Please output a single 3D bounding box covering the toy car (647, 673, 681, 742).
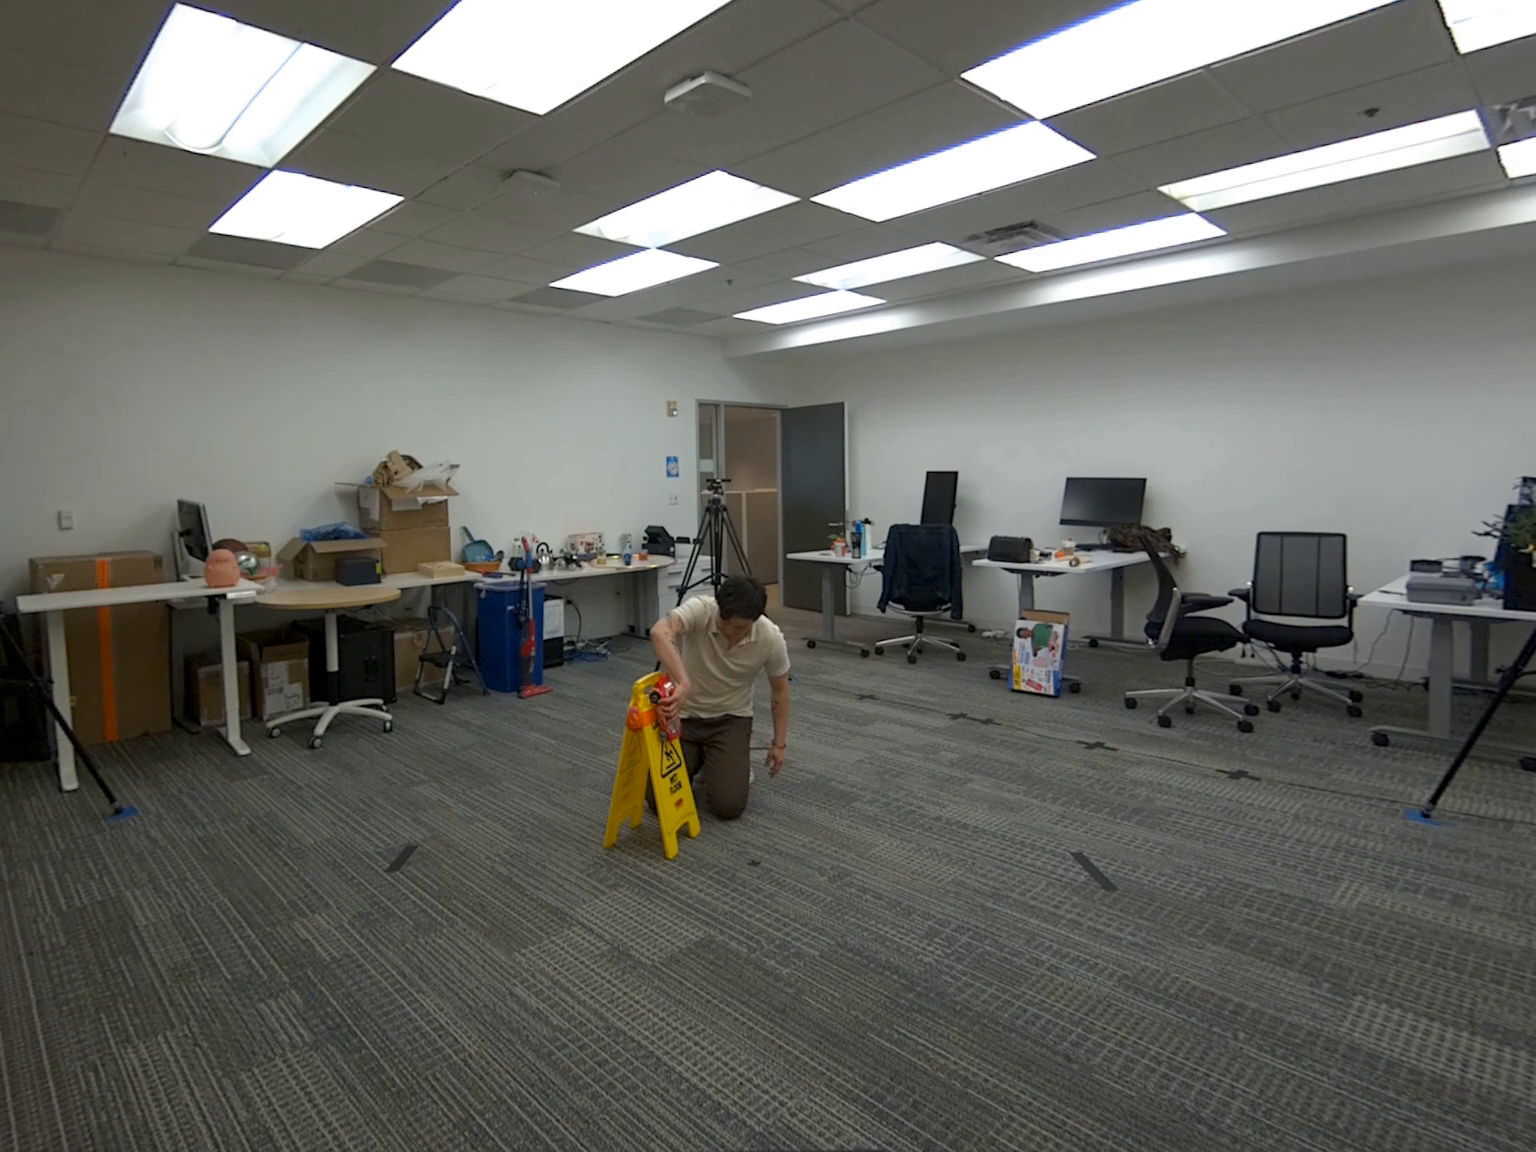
[{"bbox_3d":[-0.400,0.504,3.274,0.085,0.253,0.129,-3,6,19],"label":"toy car"}]
